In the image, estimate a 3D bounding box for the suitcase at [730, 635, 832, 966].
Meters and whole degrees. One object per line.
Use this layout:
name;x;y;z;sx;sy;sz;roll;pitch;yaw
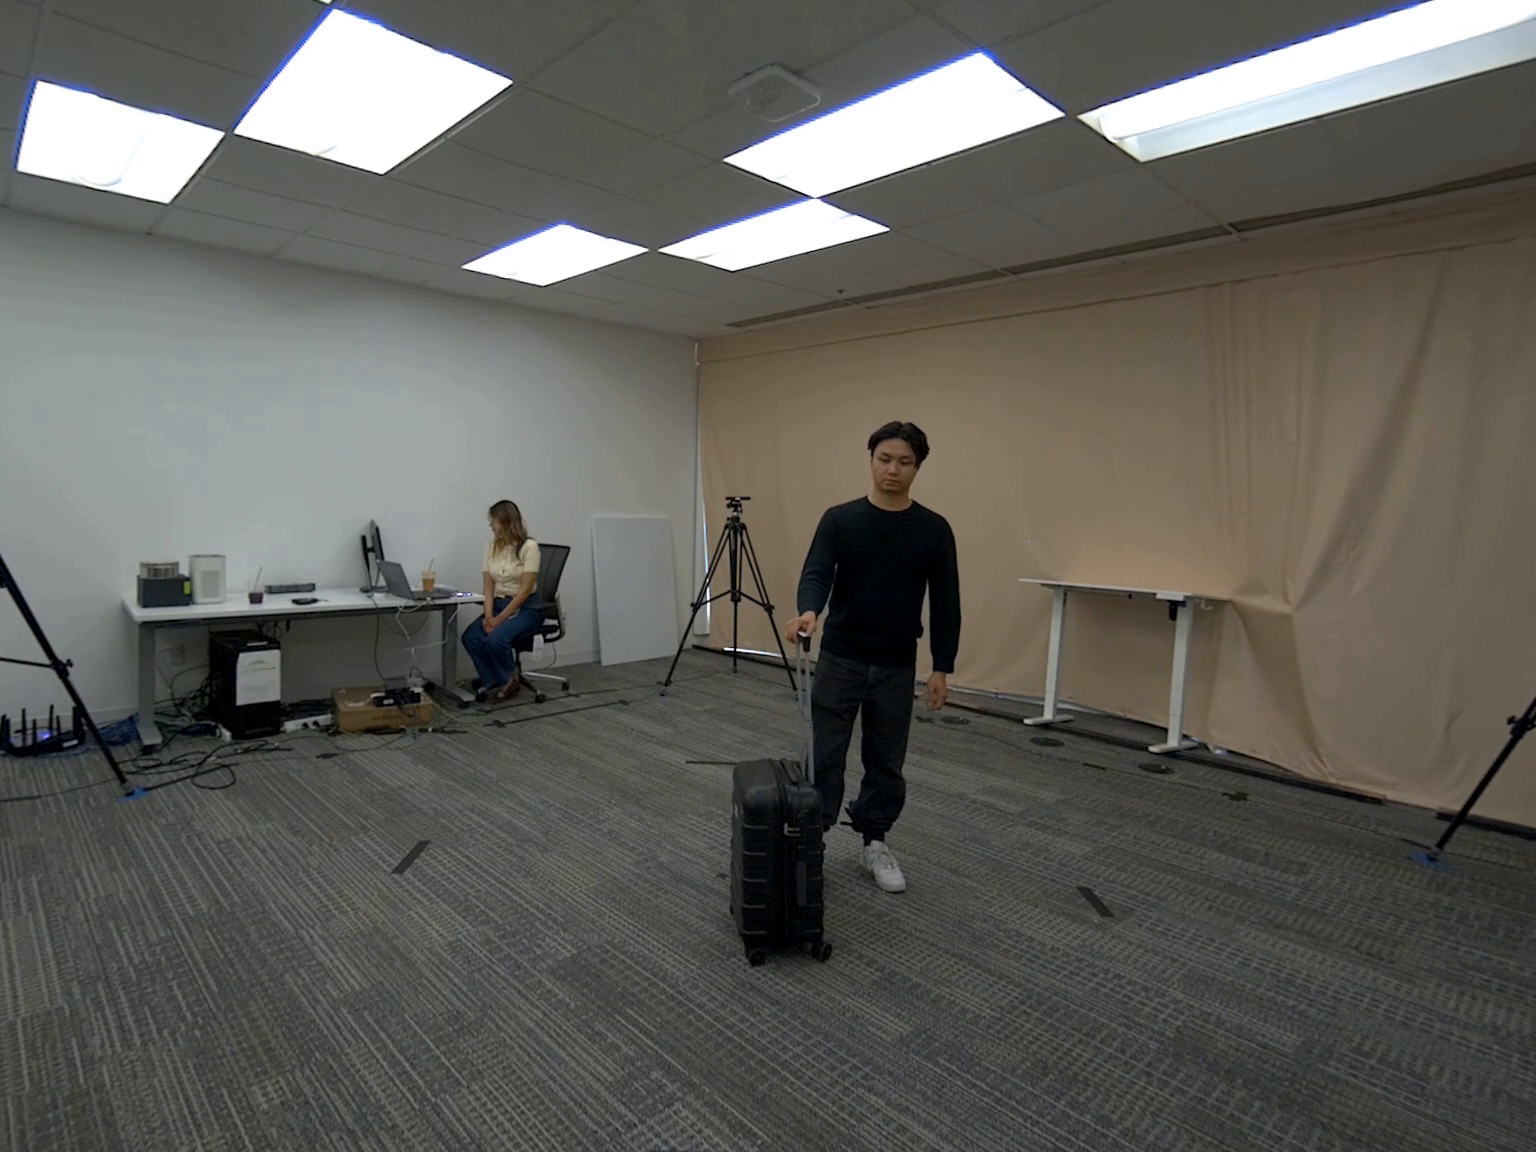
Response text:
suitcase;0.010;0.678;2.641;0.255;0.976;0.387;-2;4;-8
